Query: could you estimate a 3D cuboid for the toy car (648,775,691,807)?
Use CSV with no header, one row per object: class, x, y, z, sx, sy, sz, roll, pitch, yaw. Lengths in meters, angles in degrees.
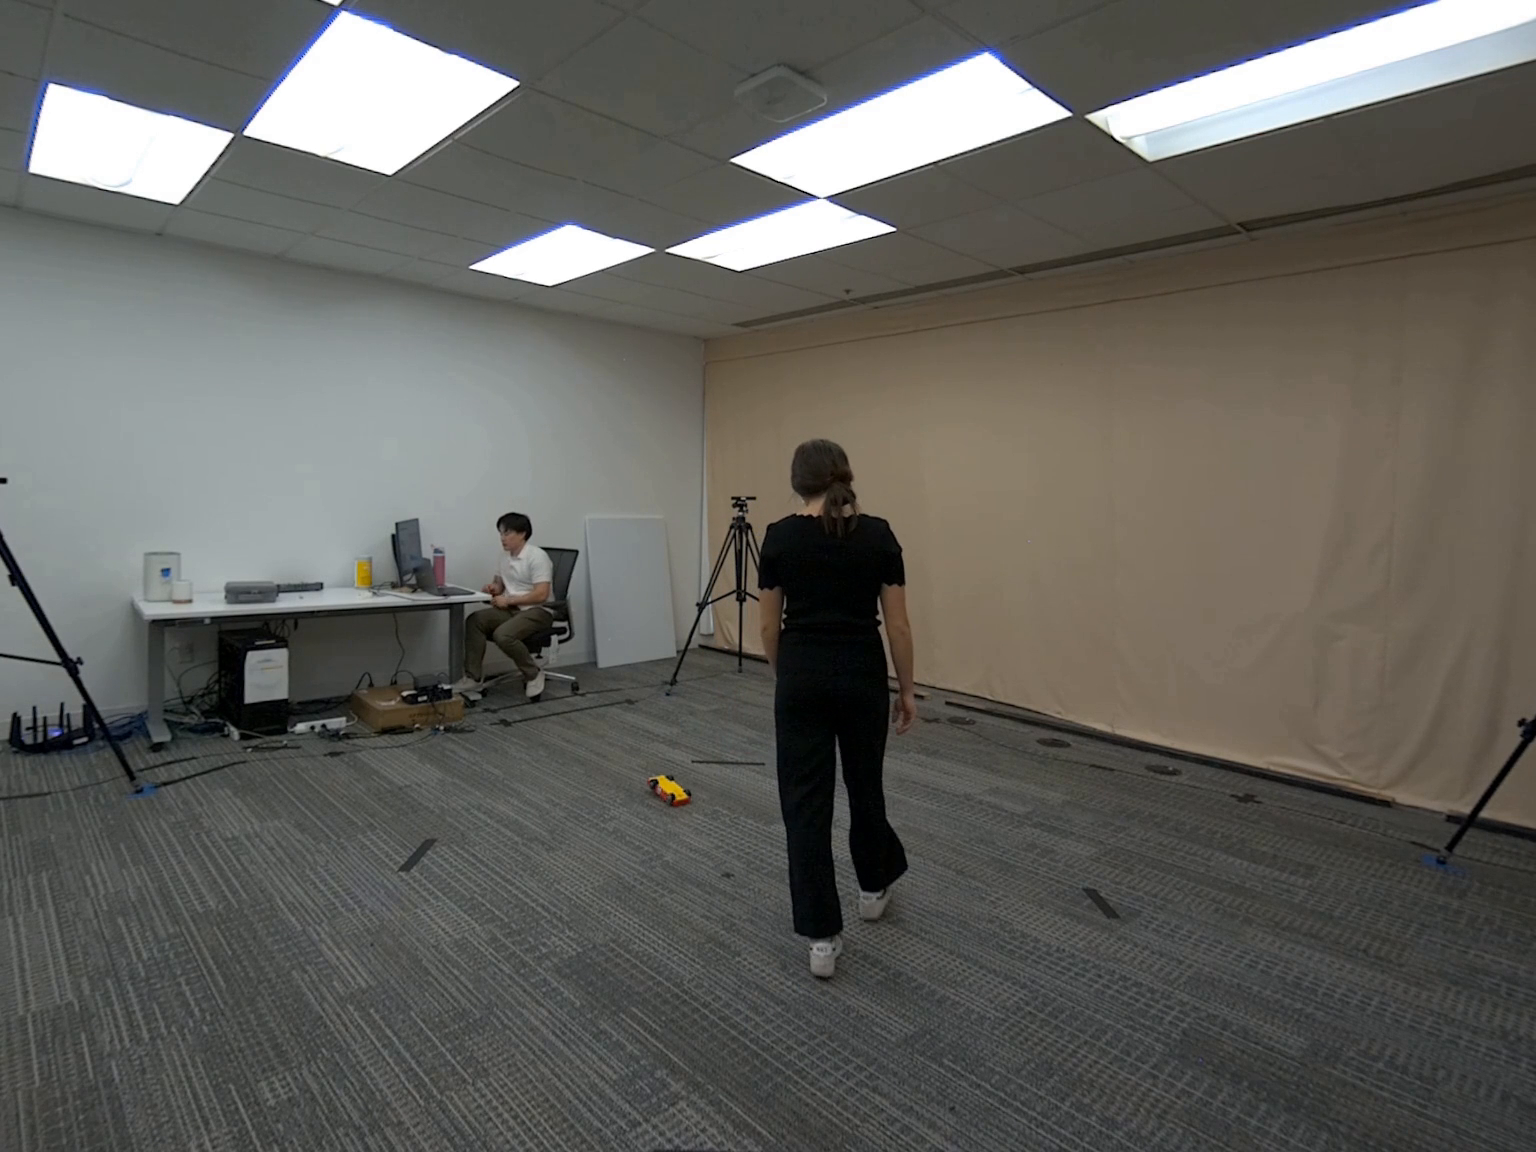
toy car,-0.478,0.988,3.905,0.127,0.083,0.261,-3,6,-39
